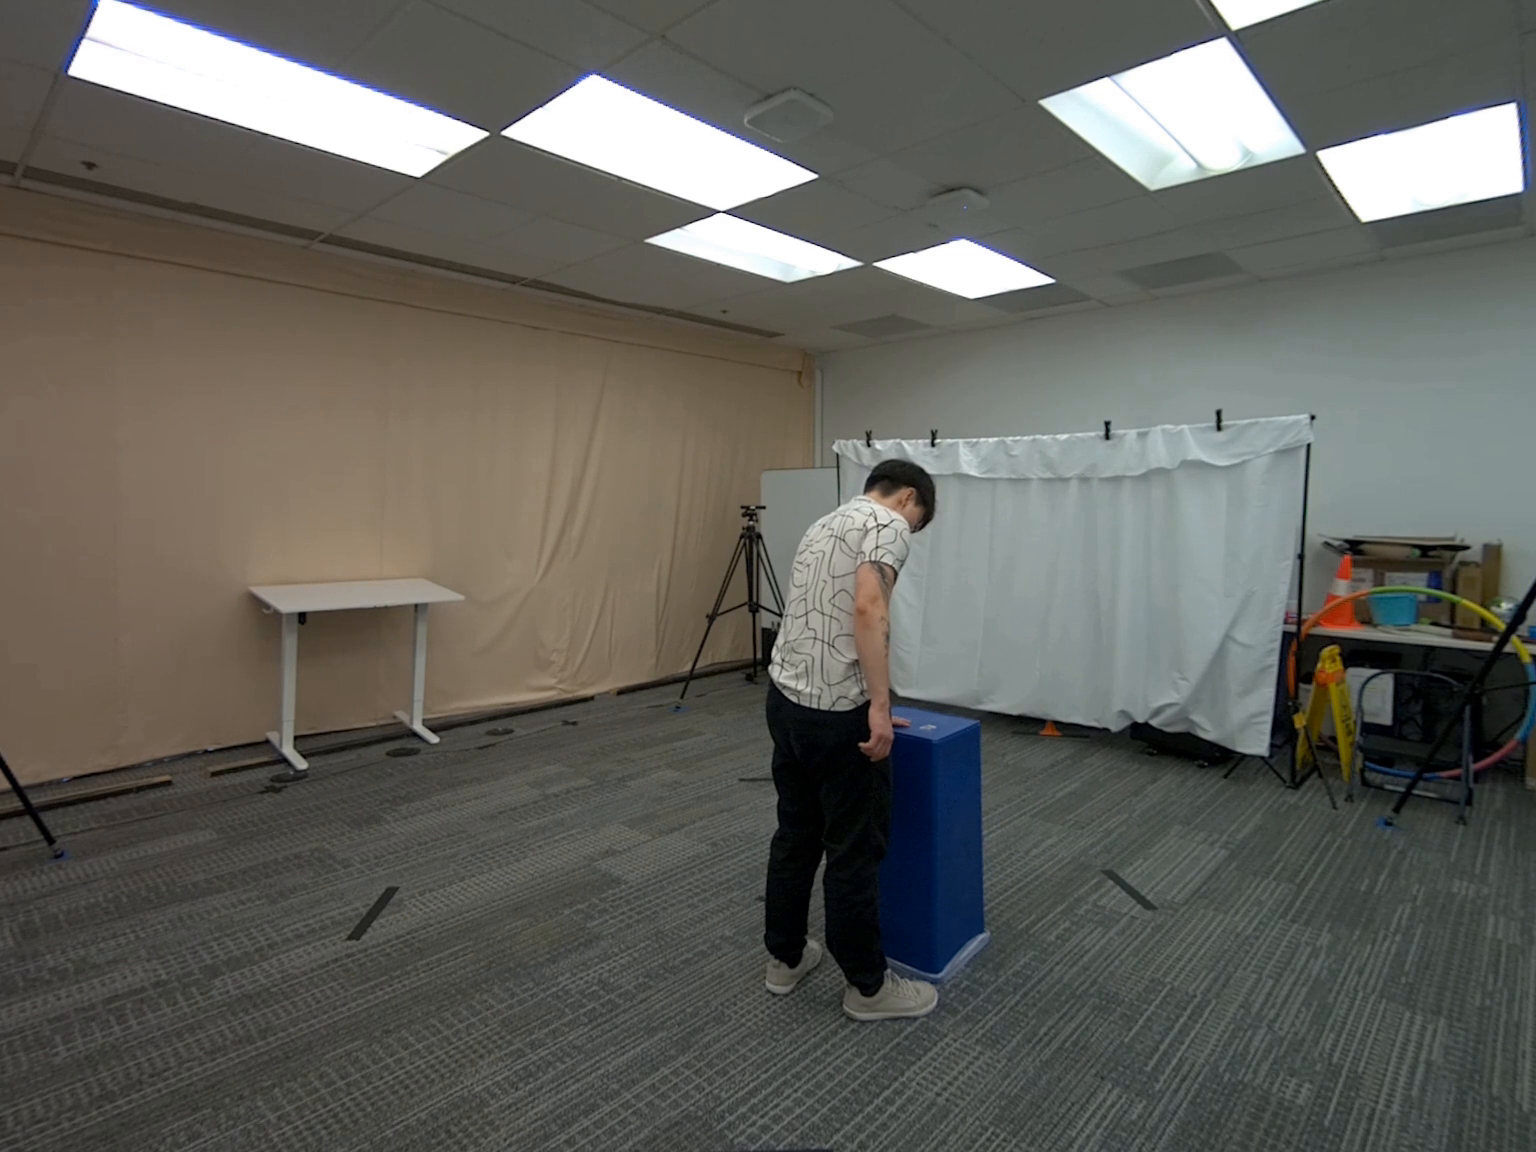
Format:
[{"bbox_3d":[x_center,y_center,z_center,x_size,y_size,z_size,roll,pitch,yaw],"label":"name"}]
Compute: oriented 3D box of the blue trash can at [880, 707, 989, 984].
[{"bbox_3d":[0.476,0.815,2.665,0.386,0.711,0.366,4,6,41],"label":"blue trash can"}]
